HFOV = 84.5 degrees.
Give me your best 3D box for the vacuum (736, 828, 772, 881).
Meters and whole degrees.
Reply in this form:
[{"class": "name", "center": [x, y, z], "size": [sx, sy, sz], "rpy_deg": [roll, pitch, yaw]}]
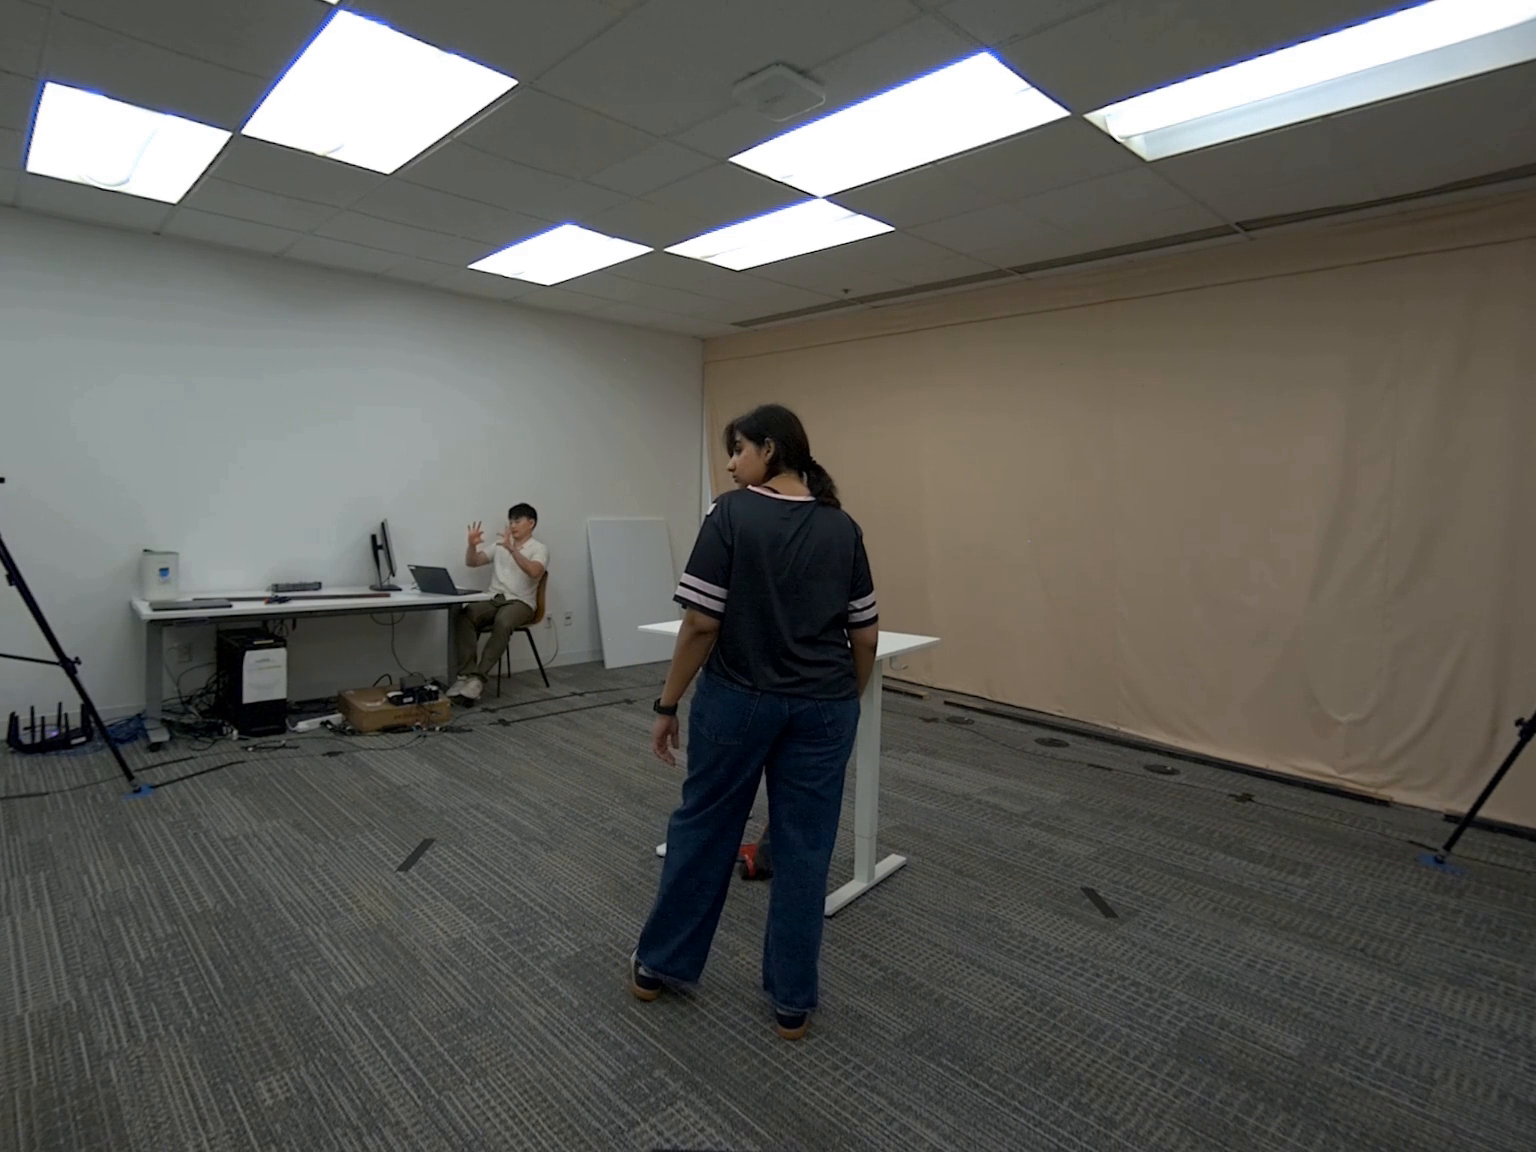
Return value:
[{"class": "vacuum", "center": [0.073, 0.777, 2.738], "size": [0.249, 0.147, 1.037], "rpy_deg": [0, -35, -17]}]
